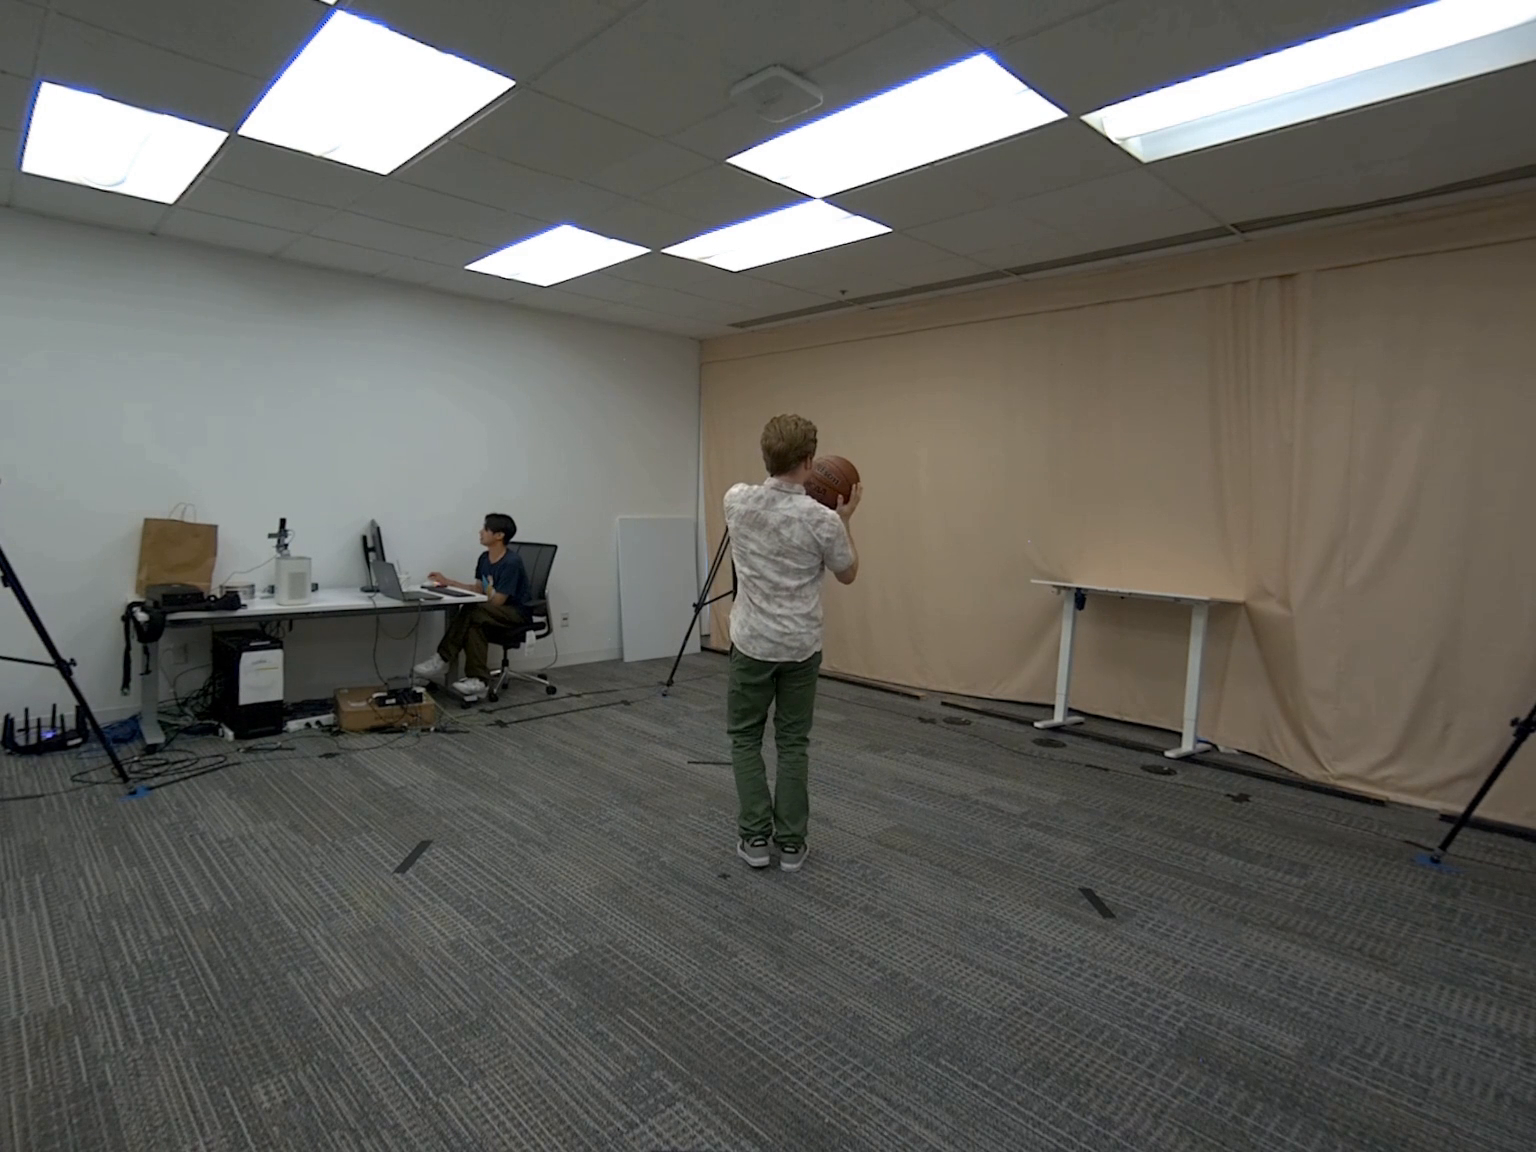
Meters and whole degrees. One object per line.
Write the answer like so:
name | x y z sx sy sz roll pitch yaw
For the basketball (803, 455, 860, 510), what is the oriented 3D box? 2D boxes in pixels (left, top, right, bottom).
basketball | 0.254 -0.381 3.496 0.236 0.235 0.237 1 4 -1
